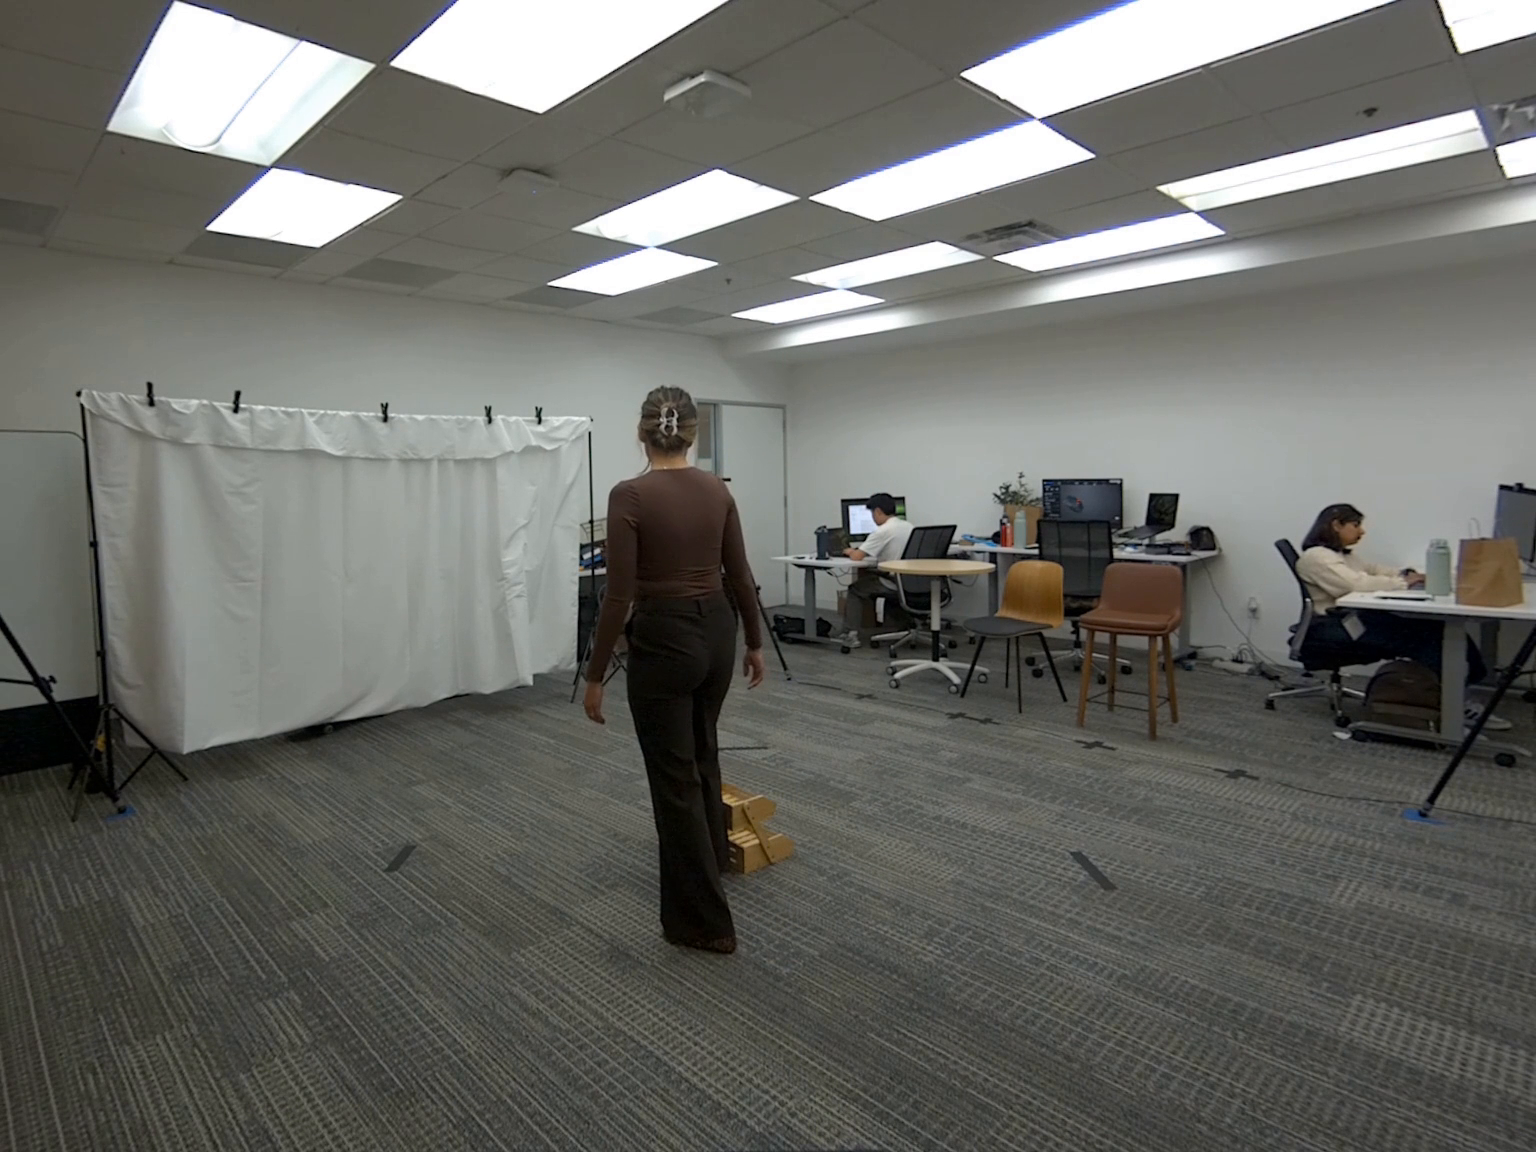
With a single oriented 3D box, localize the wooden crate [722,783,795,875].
[{"bbox_3d":[-0.111,0.901,3.188,0.294,0.272,0.334,-6,7,-41],"label":"wooden crate"}]
